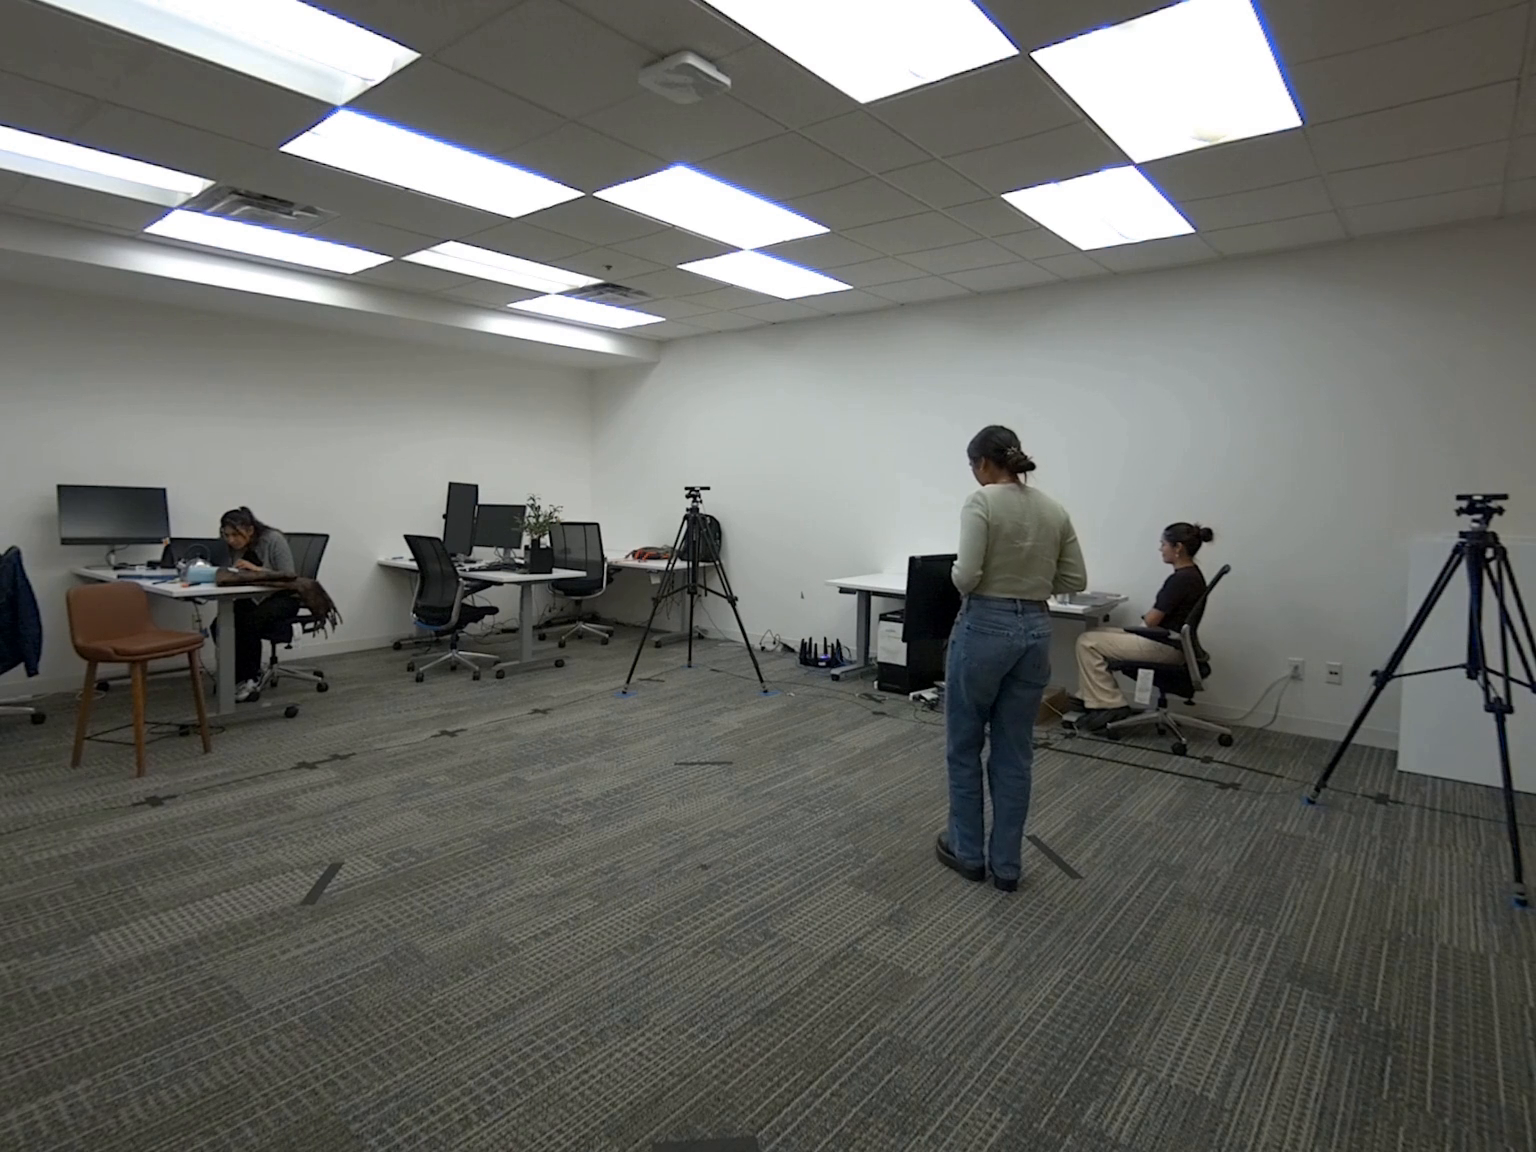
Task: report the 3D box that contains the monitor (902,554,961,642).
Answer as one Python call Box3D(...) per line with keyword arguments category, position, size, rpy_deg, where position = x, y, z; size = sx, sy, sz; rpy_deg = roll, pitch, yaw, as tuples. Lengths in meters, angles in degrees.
Box3D(category="monitor", position=(0.766, 0.164, 3.211), size=(0.525, 0.514, 0.177), rpy_deg=(-6, 3, -9))
